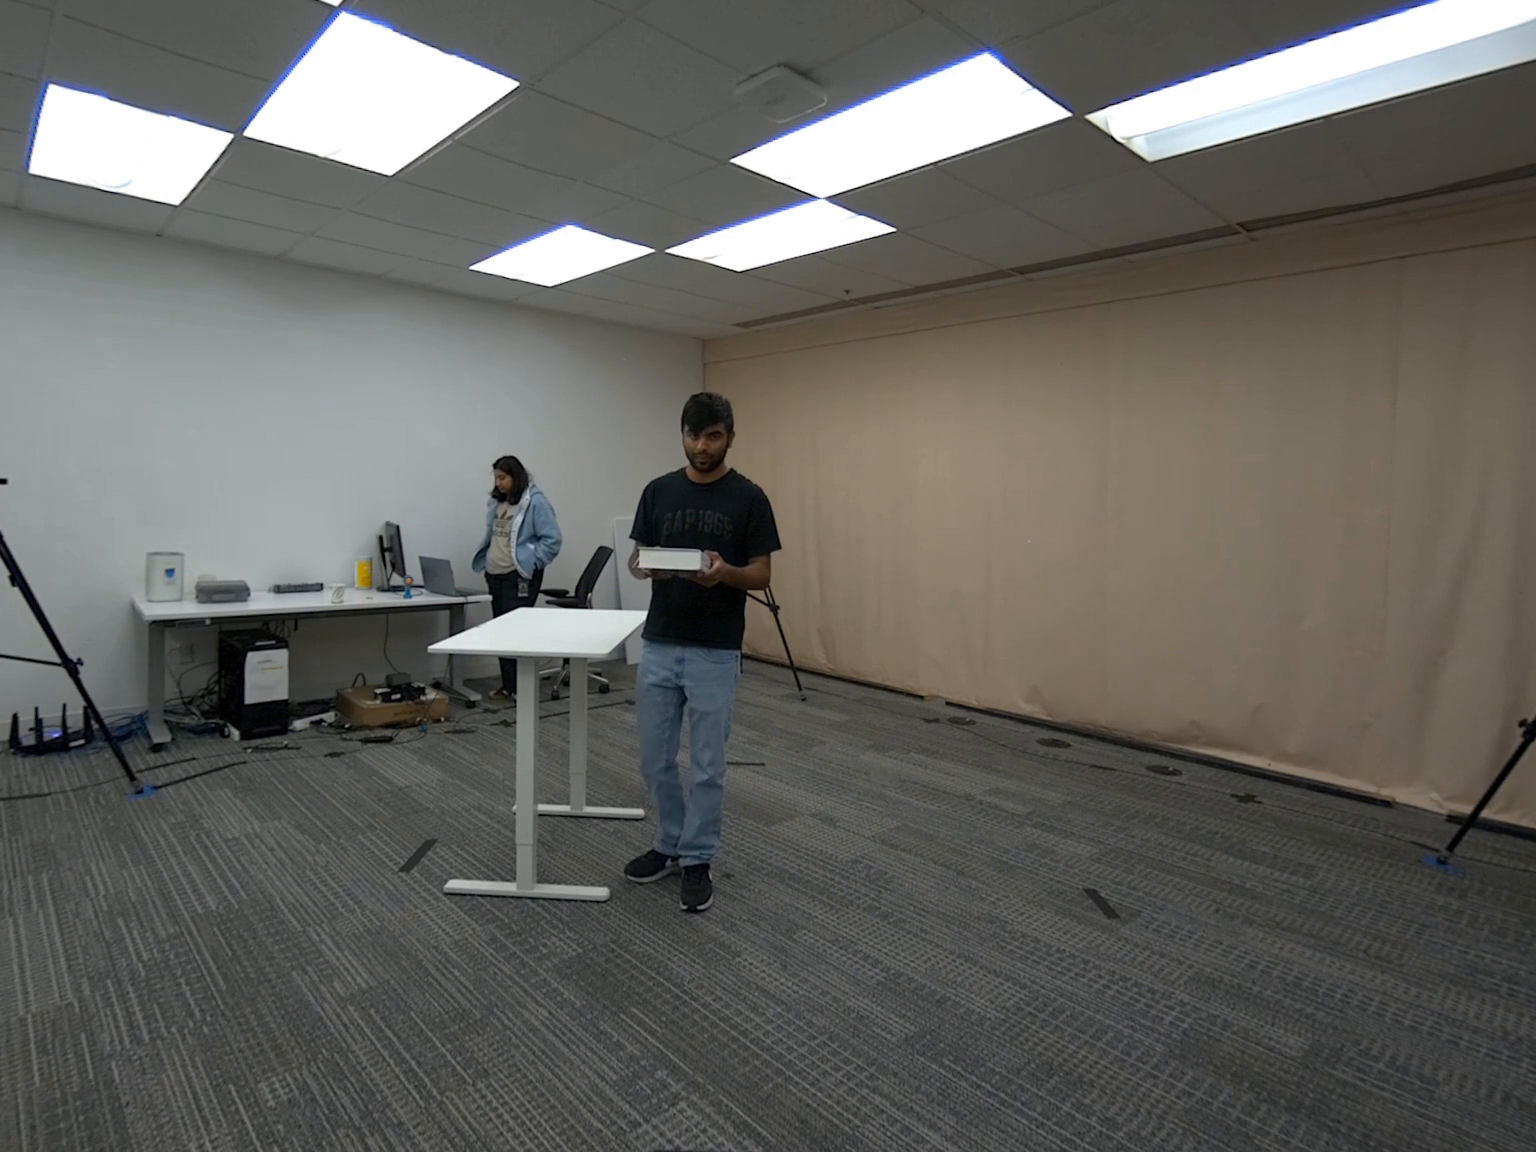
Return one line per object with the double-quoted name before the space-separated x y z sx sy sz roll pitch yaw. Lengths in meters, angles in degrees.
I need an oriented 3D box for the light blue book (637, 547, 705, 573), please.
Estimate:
"light blue book" -0.281 -0.040 2.561 0.192 0.059 0.259 2 -2 5
